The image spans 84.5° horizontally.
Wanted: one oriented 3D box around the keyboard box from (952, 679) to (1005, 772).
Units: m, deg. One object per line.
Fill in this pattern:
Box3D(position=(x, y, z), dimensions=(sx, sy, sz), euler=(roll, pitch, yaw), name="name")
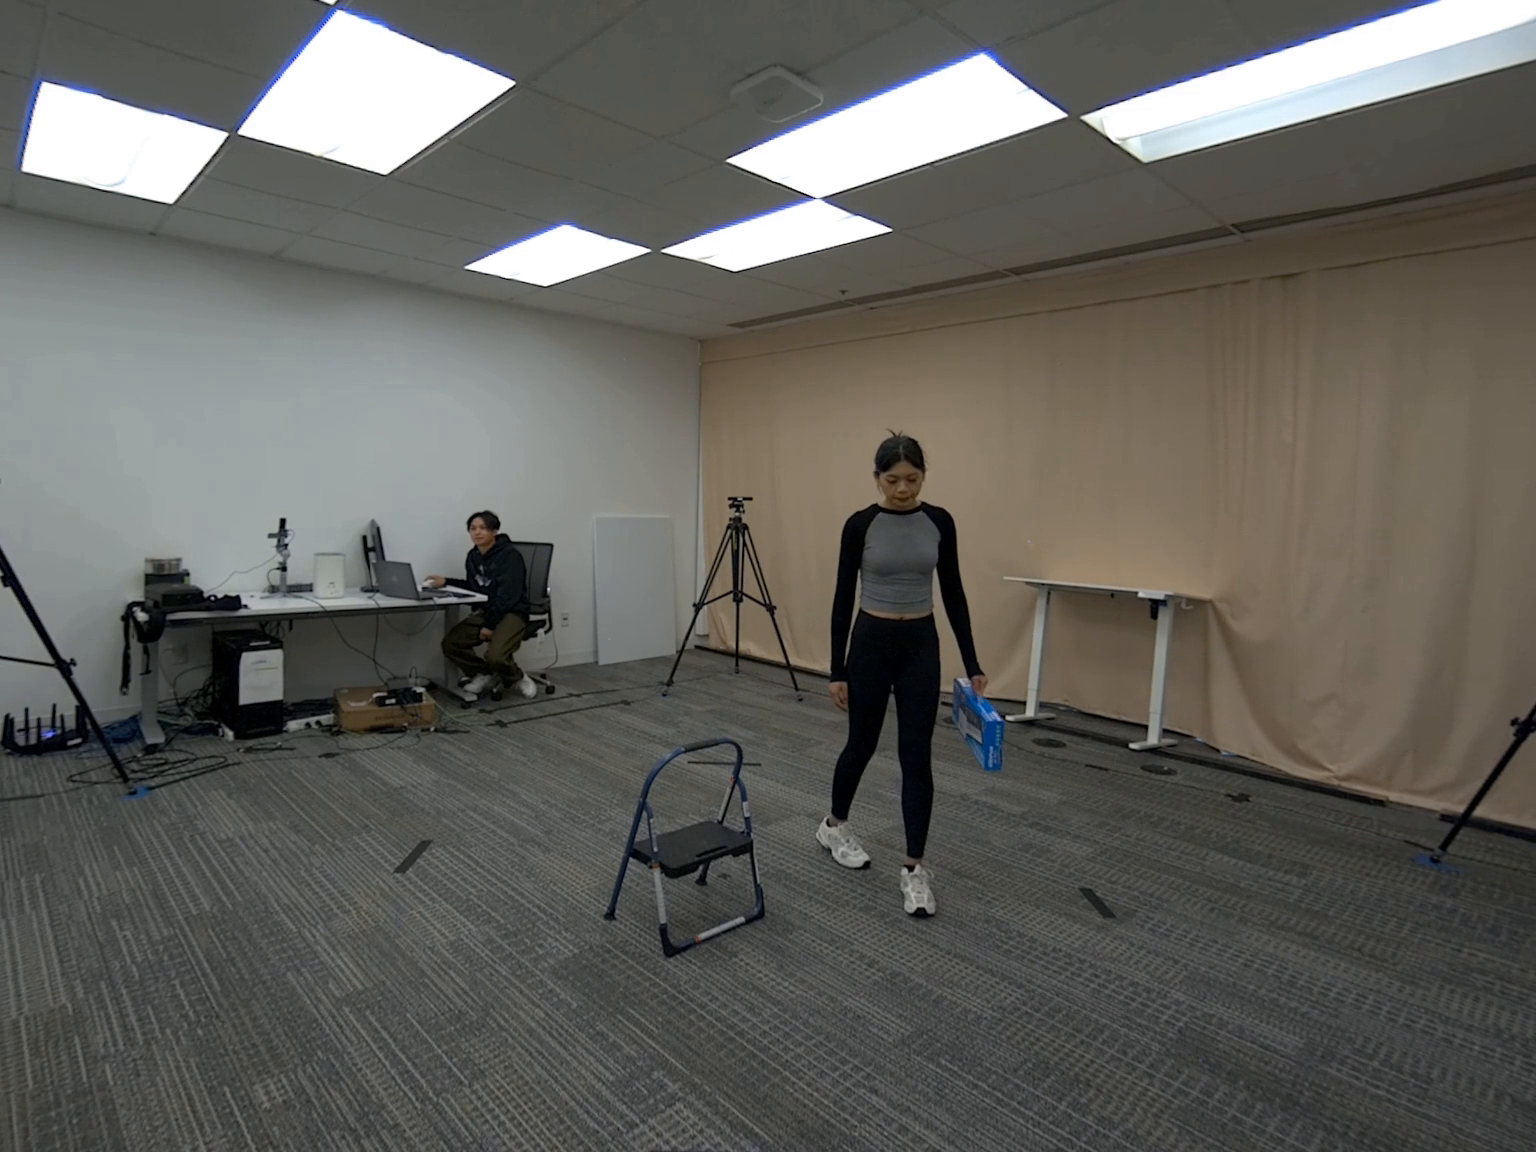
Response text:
Box3D(position=(0.729, 0.515, 2.984), dimensions=(0.059, 0.174, 0.440), euler=(-1, 12, -2), name="keyboard box")
